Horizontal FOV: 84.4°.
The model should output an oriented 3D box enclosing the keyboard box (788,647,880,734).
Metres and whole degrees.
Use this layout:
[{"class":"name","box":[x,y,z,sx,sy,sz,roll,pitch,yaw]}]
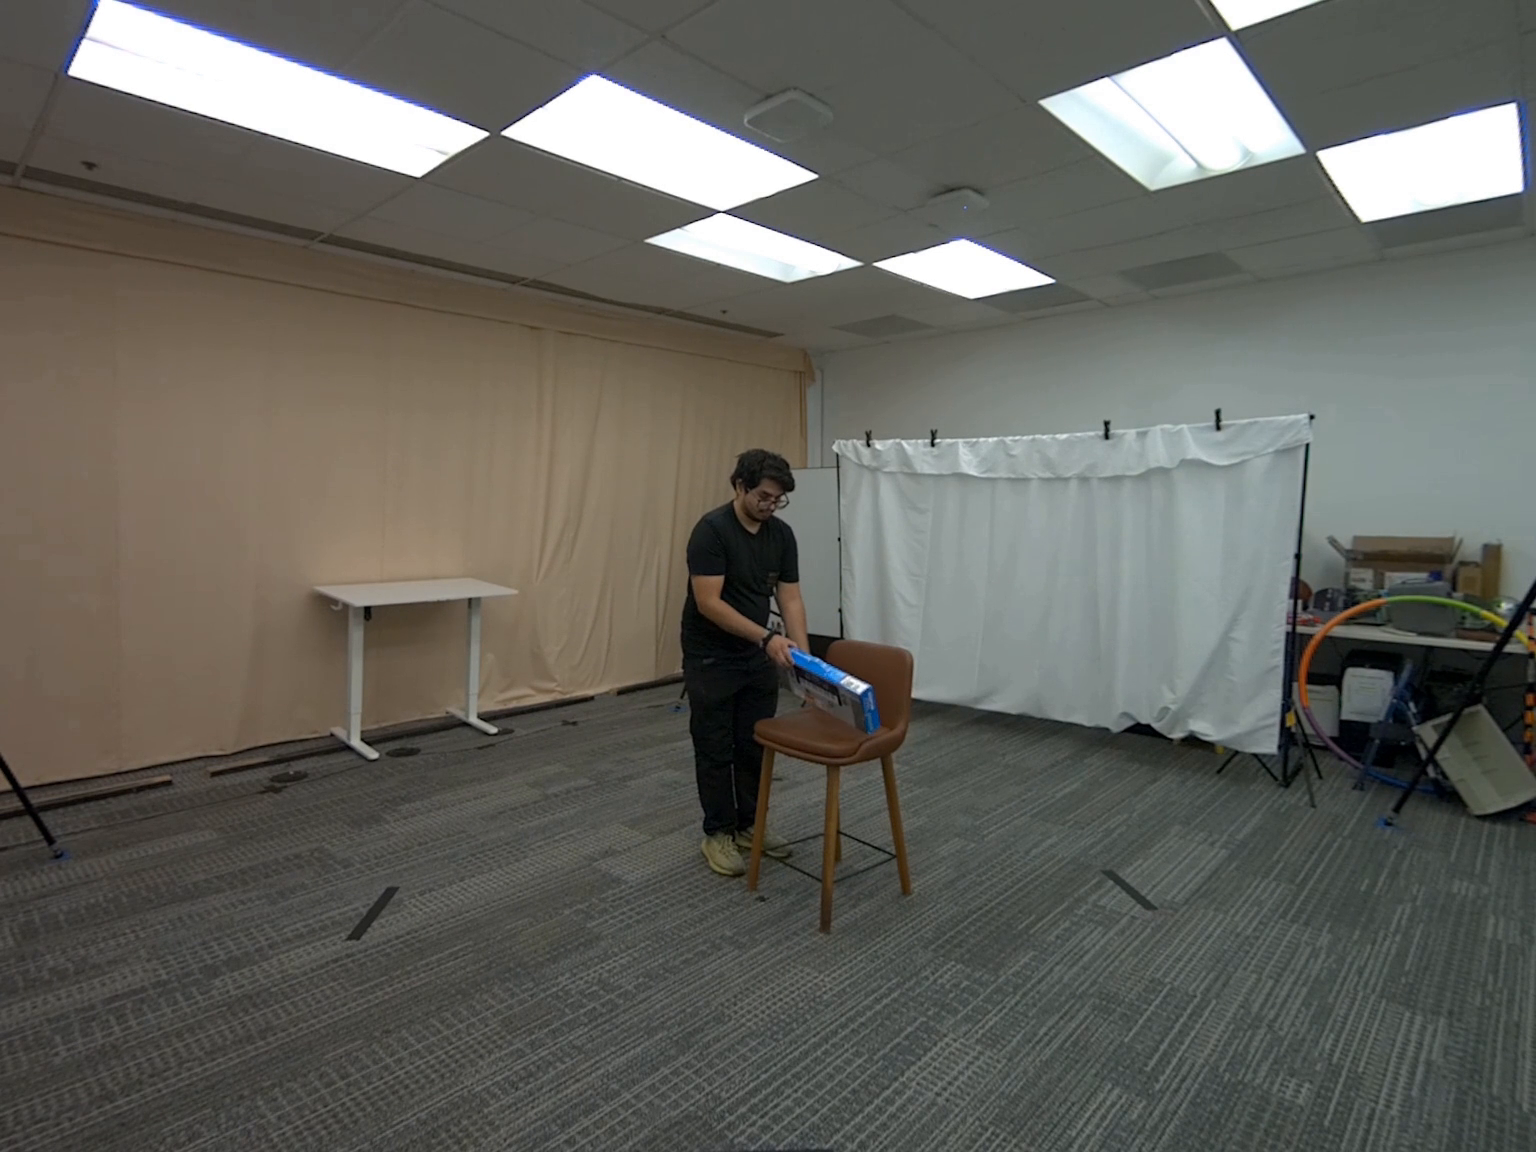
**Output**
[{"class":"keyboard box","box":[0.197,0.389,2.913,0.058,0.172,0.453,-32,32,-28]}]
